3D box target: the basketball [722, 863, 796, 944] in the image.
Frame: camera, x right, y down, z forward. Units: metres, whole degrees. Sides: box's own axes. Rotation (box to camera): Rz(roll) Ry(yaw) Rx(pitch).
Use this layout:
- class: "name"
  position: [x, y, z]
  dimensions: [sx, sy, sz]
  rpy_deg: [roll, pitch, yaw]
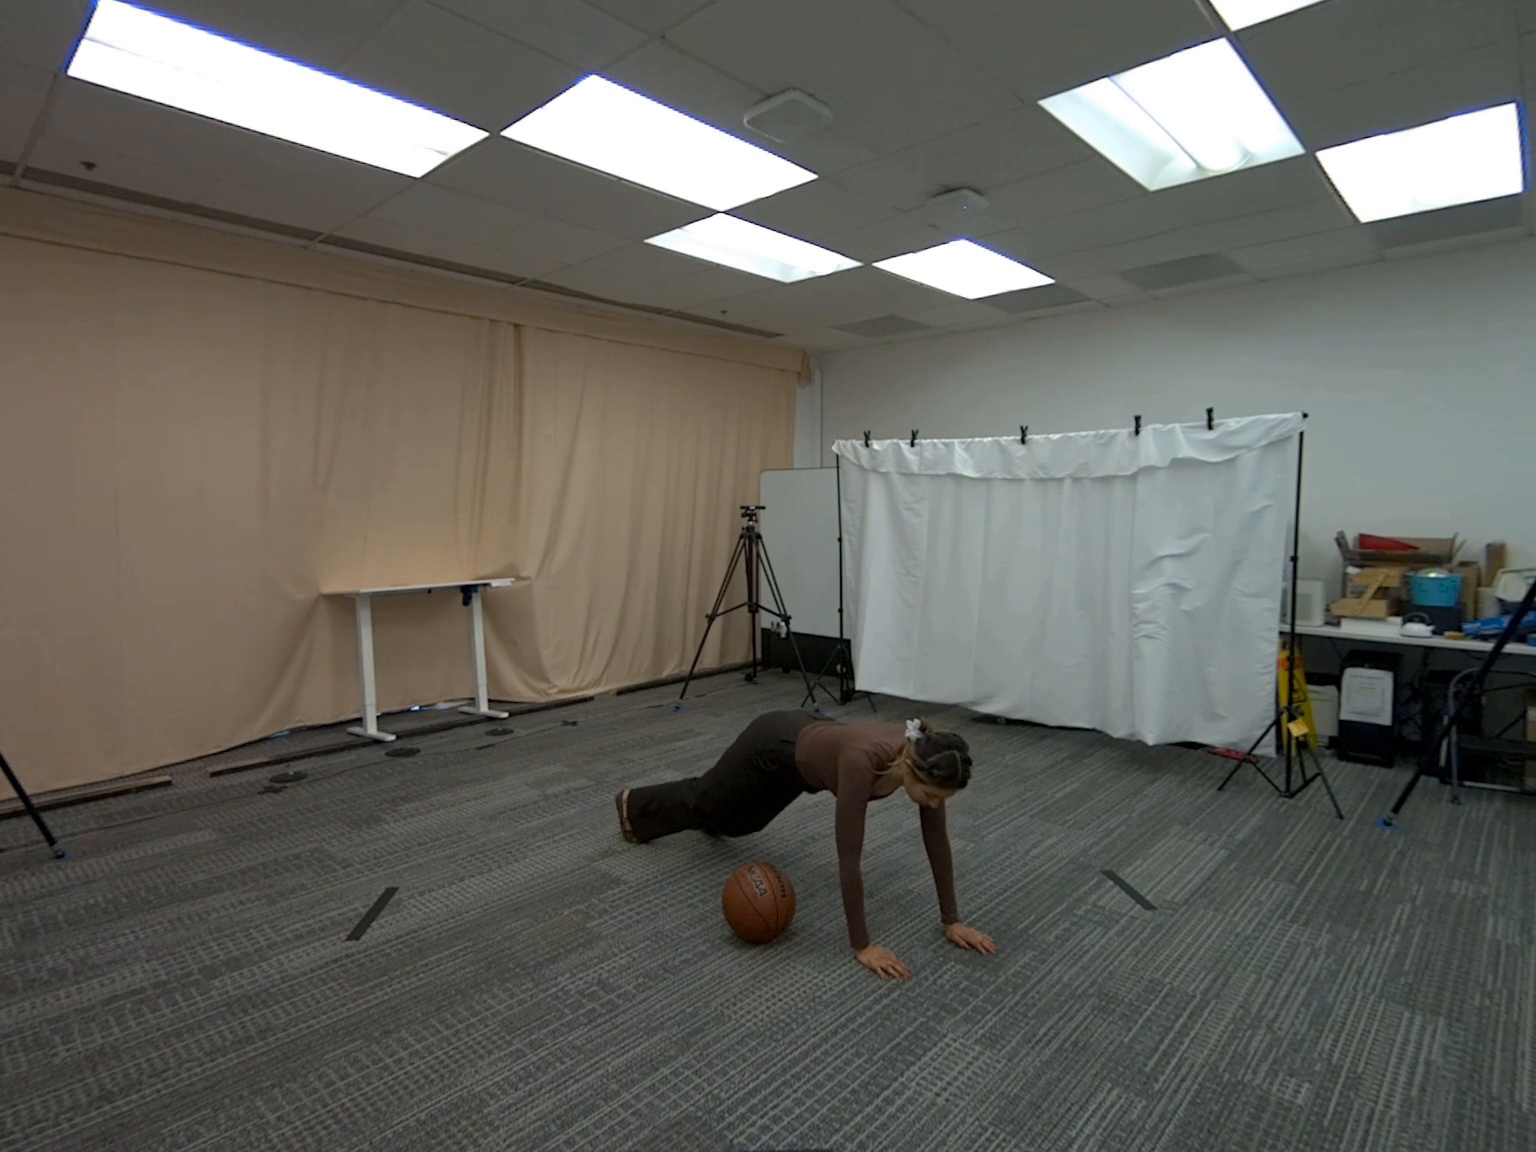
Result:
- class: "basketball"
  position: [-0.024, 1.037, 2.715]
  dimensions: [0.236, 0.235, 0.237]
  rpy_deg: [0, 4, -2]
